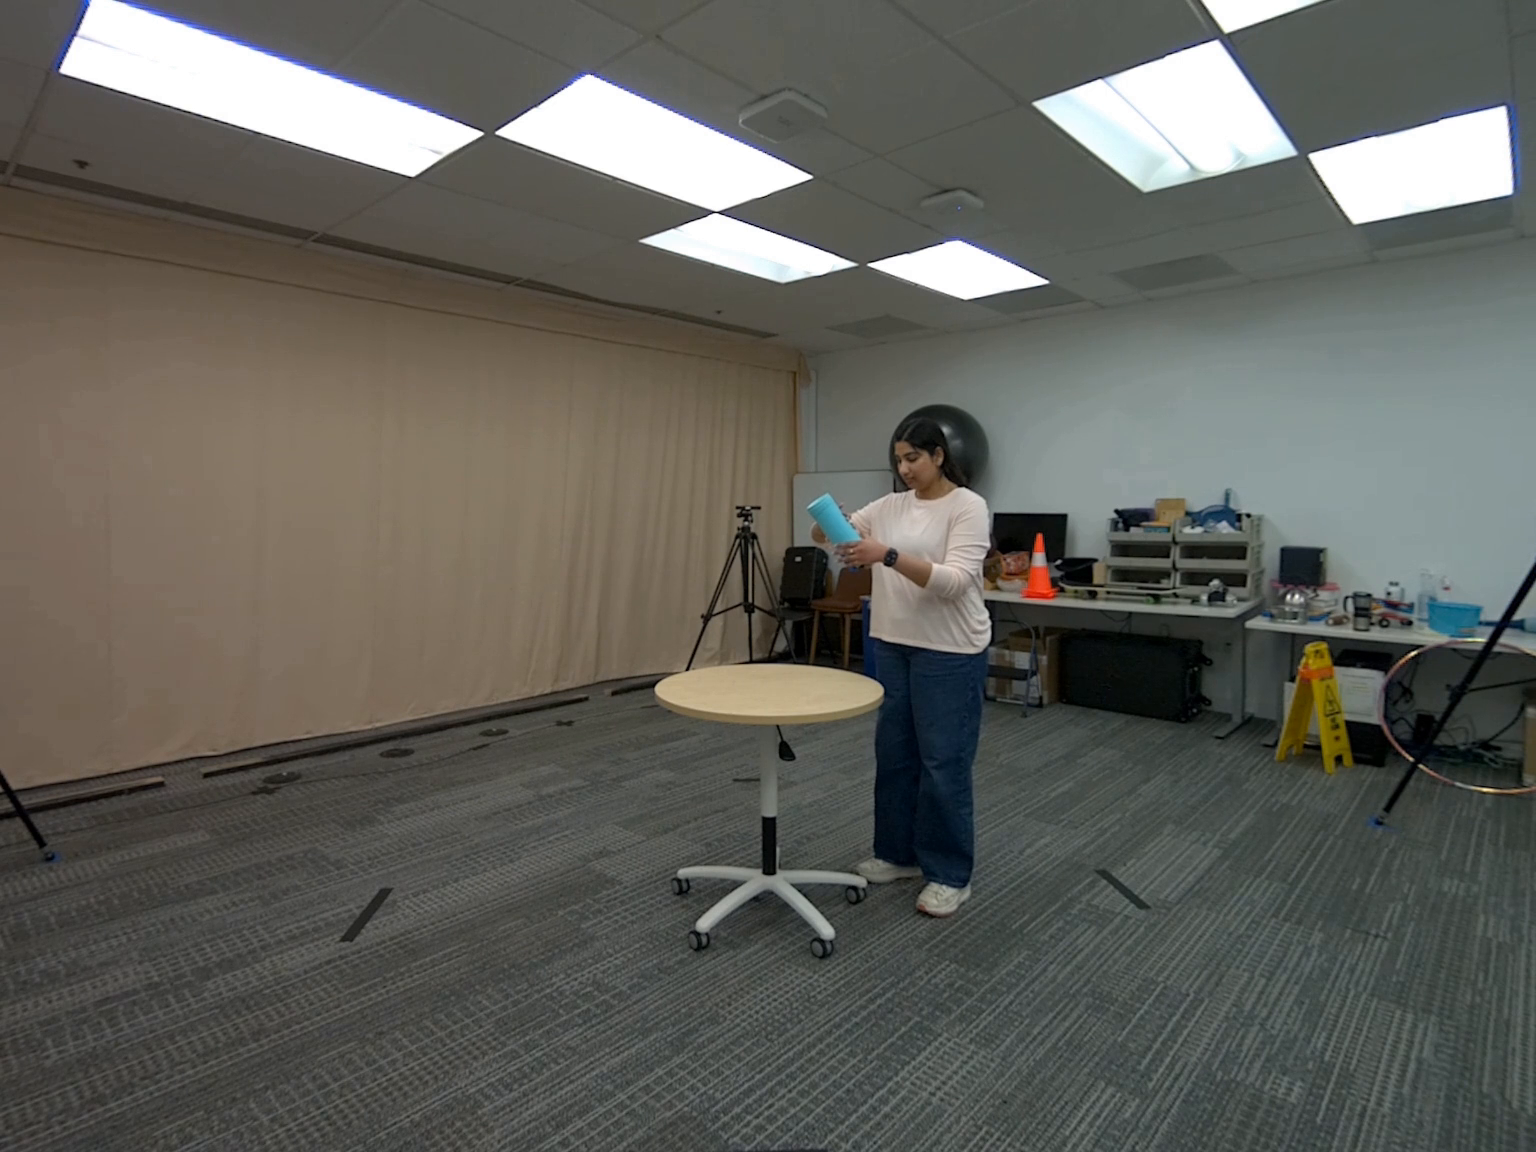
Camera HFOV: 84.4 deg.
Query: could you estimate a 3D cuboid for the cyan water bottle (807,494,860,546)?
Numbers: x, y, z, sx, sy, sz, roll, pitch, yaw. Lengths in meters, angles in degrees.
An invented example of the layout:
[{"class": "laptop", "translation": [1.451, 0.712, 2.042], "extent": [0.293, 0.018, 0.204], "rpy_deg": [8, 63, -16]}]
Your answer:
[{"class": "cyan water bottle", "translation": [0.255, -0.136, 2.823], "extent": [0.092, 0.281, 0.093], "rpy_deg": [-34, 6, 3]}]
